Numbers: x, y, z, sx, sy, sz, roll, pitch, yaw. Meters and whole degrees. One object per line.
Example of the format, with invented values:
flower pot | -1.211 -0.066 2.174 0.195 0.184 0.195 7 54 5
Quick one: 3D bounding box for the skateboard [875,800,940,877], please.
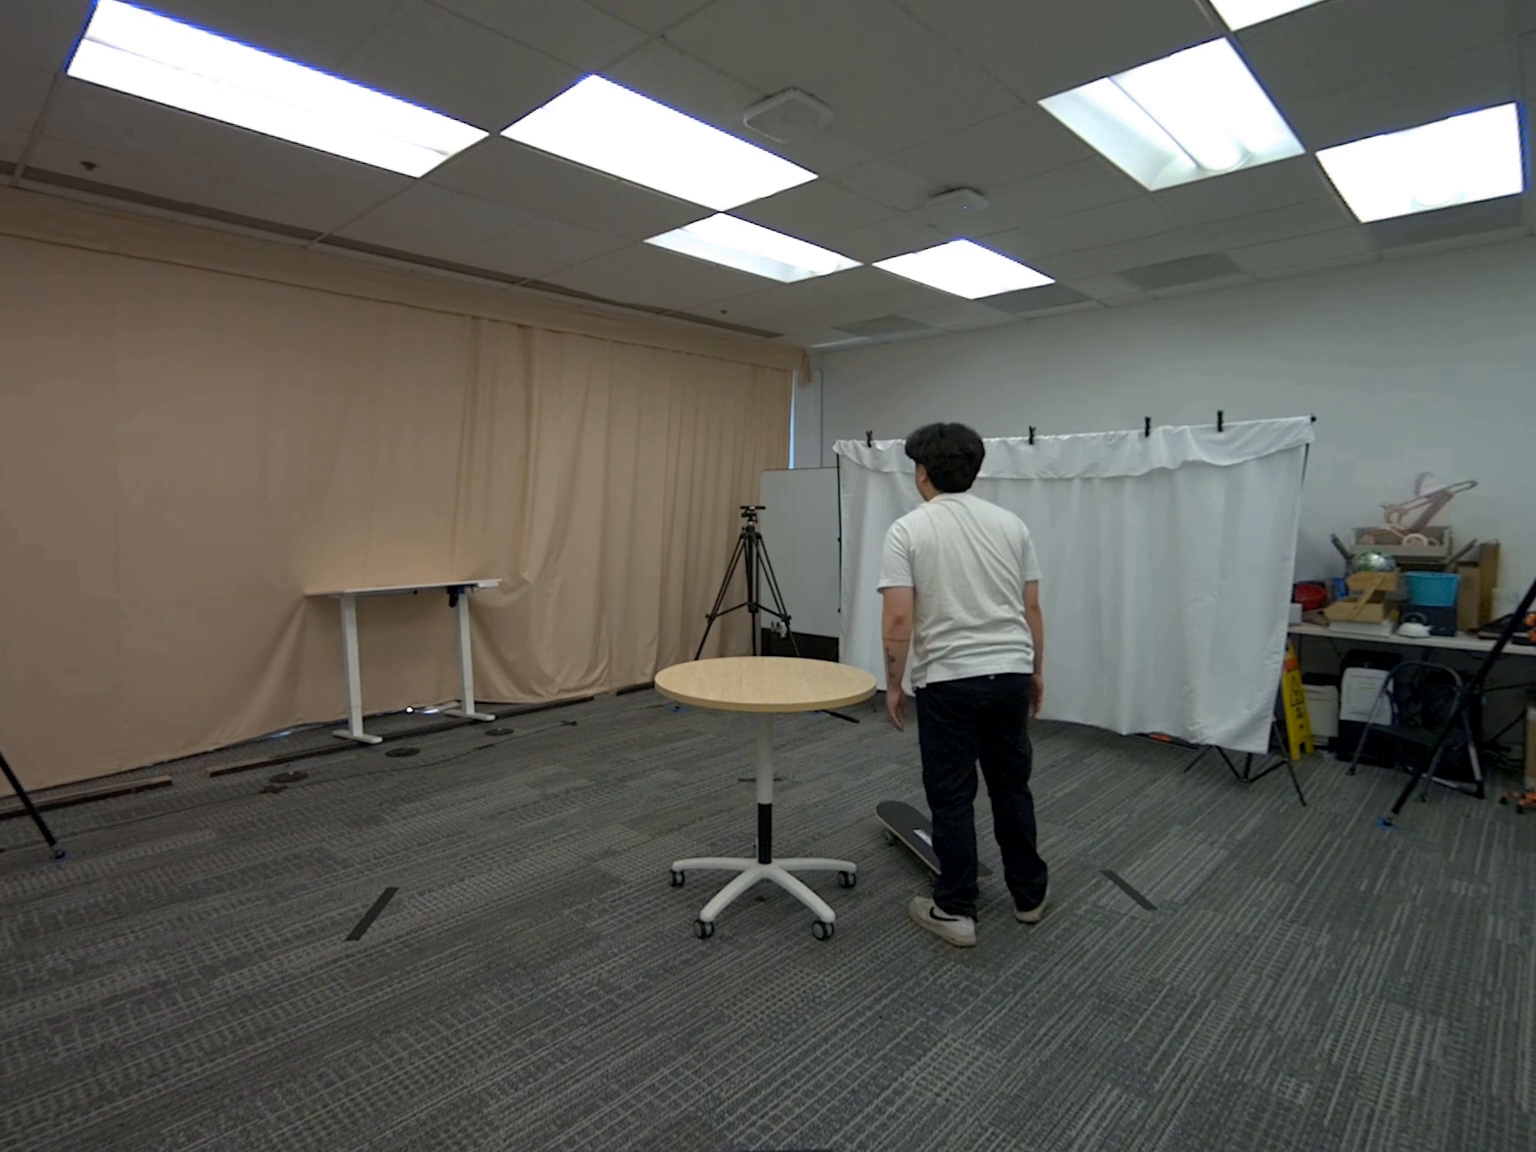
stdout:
skateboard | 0.628 1.061 3.288 0.191 0.110 0.798 -1 5 -15
